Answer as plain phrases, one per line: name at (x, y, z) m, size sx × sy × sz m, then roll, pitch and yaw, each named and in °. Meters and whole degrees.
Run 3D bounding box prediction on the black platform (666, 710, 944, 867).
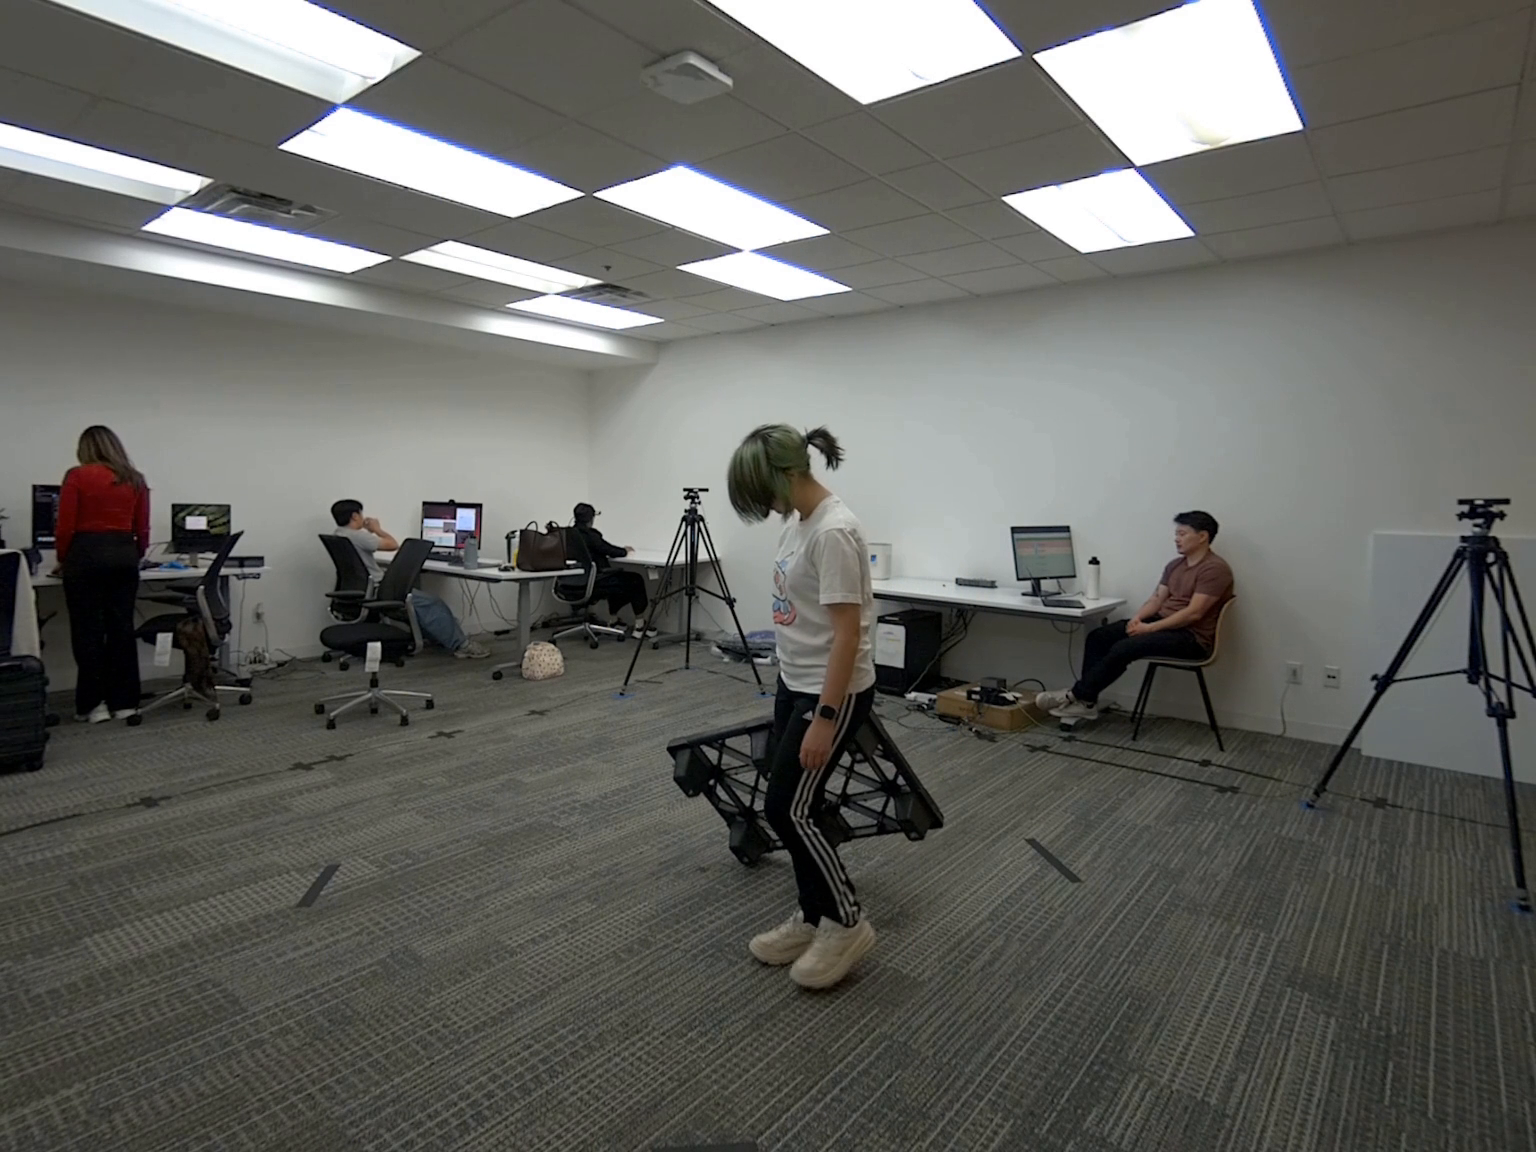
black platform at (0.092, 0.743, 2.922) m, size 0.819 × 0.589 × 0.145 m, roll -20°, pitch 24°, yaw 31°
